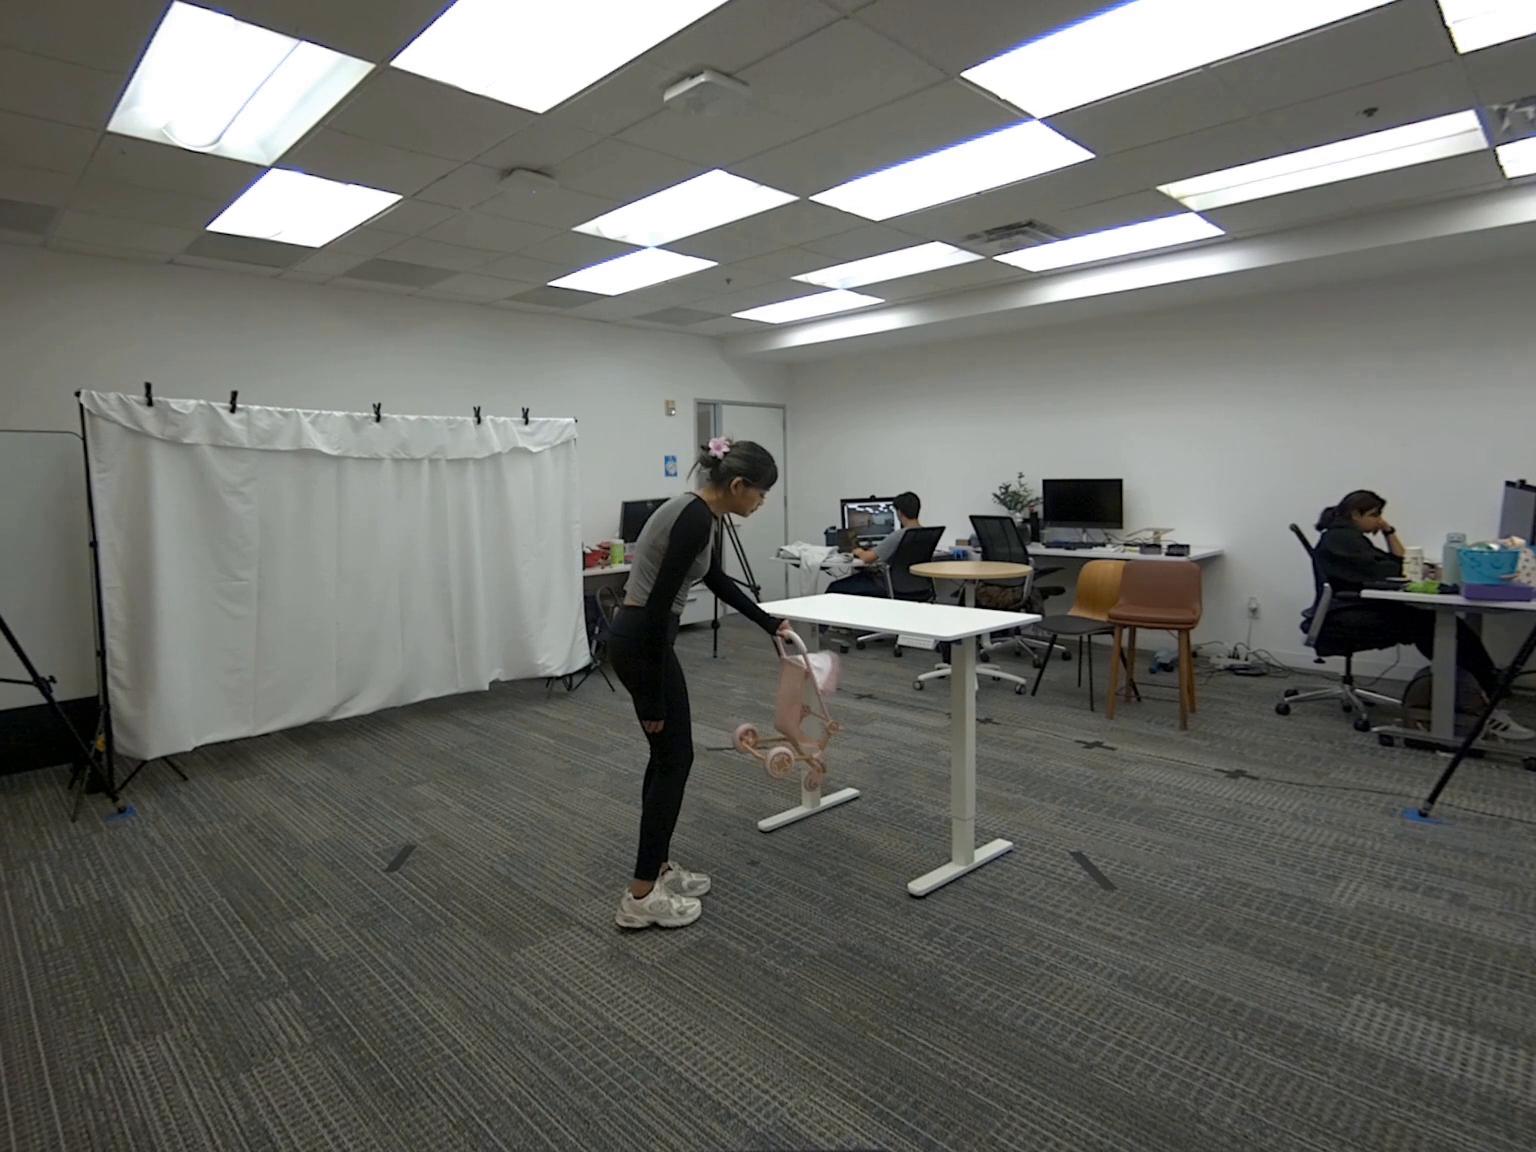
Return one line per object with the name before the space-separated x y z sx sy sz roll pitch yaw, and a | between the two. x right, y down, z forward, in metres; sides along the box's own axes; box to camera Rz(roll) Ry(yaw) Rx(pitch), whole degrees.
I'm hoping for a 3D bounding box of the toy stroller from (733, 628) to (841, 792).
toy stroller | 0.120 0.485 3.006 0.333 0.536 0.288 17 -2 -23
